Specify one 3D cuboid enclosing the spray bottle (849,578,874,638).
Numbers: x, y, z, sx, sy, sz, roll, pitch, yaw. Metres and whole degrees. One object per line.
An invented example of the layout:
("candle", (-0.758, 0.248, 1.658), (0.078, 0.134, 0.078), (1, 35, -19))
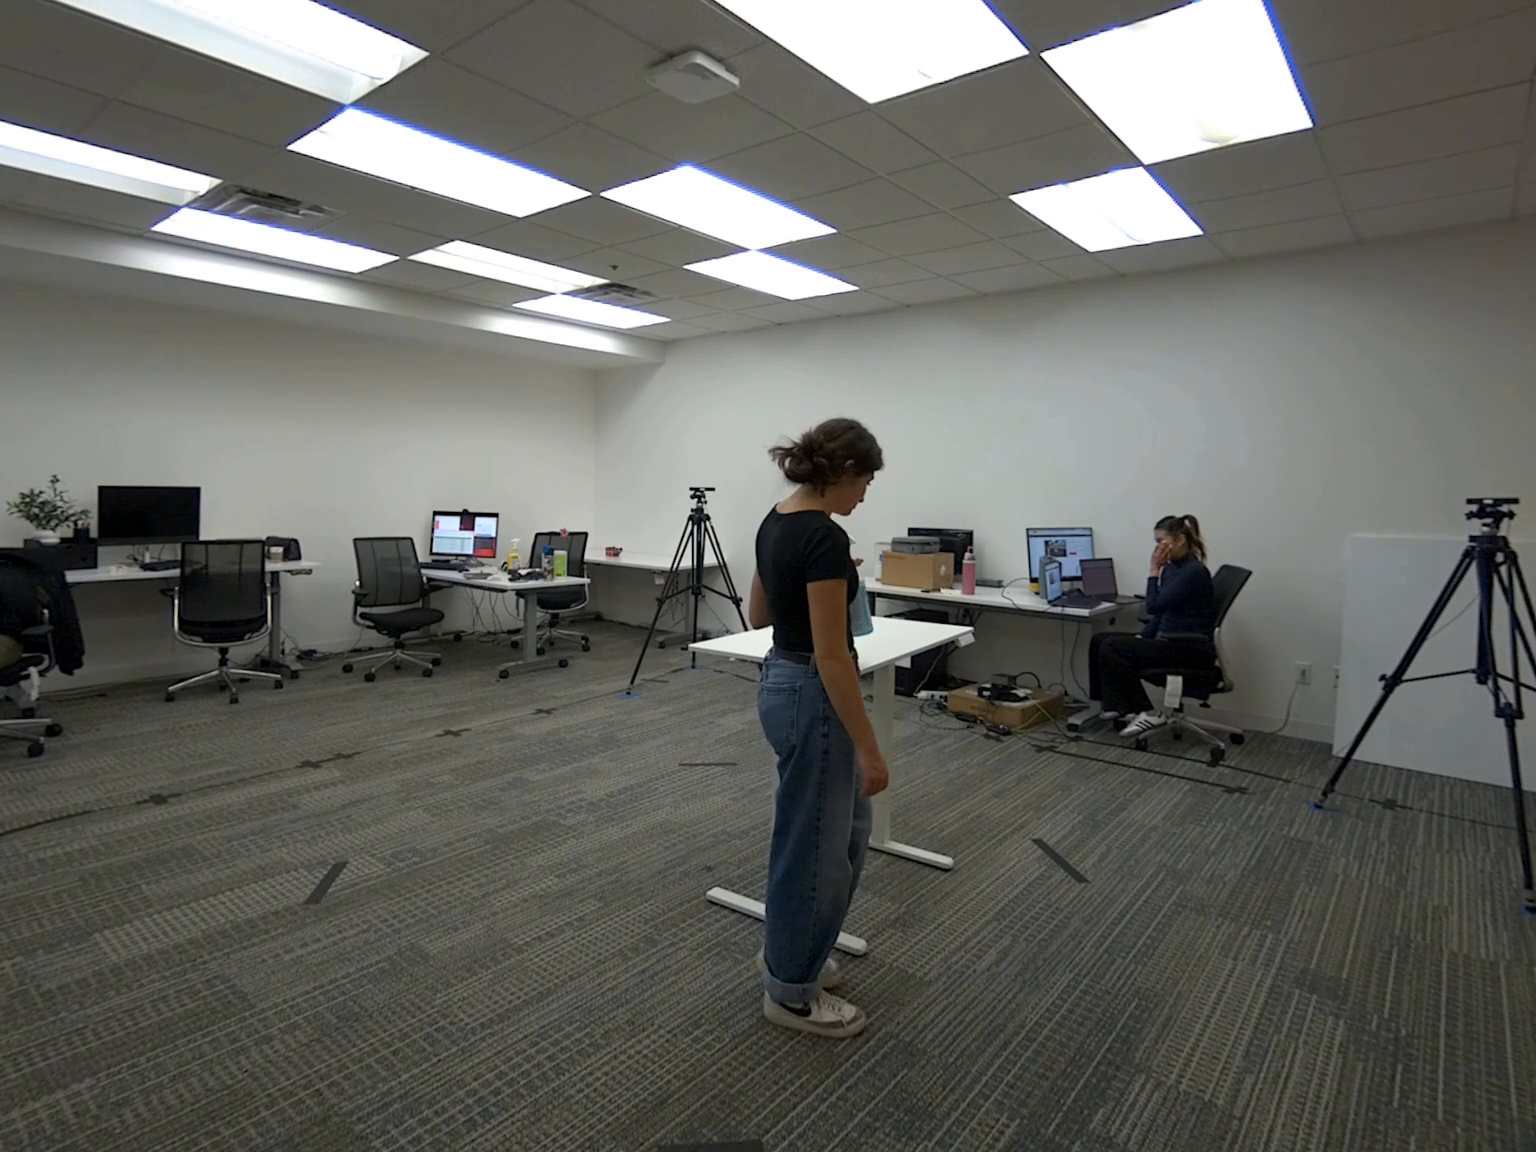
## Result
("spray bottle", (0.235, 0.024, 2.461), (0.085, 0.297, 0.092), (-14, 3, -38))
